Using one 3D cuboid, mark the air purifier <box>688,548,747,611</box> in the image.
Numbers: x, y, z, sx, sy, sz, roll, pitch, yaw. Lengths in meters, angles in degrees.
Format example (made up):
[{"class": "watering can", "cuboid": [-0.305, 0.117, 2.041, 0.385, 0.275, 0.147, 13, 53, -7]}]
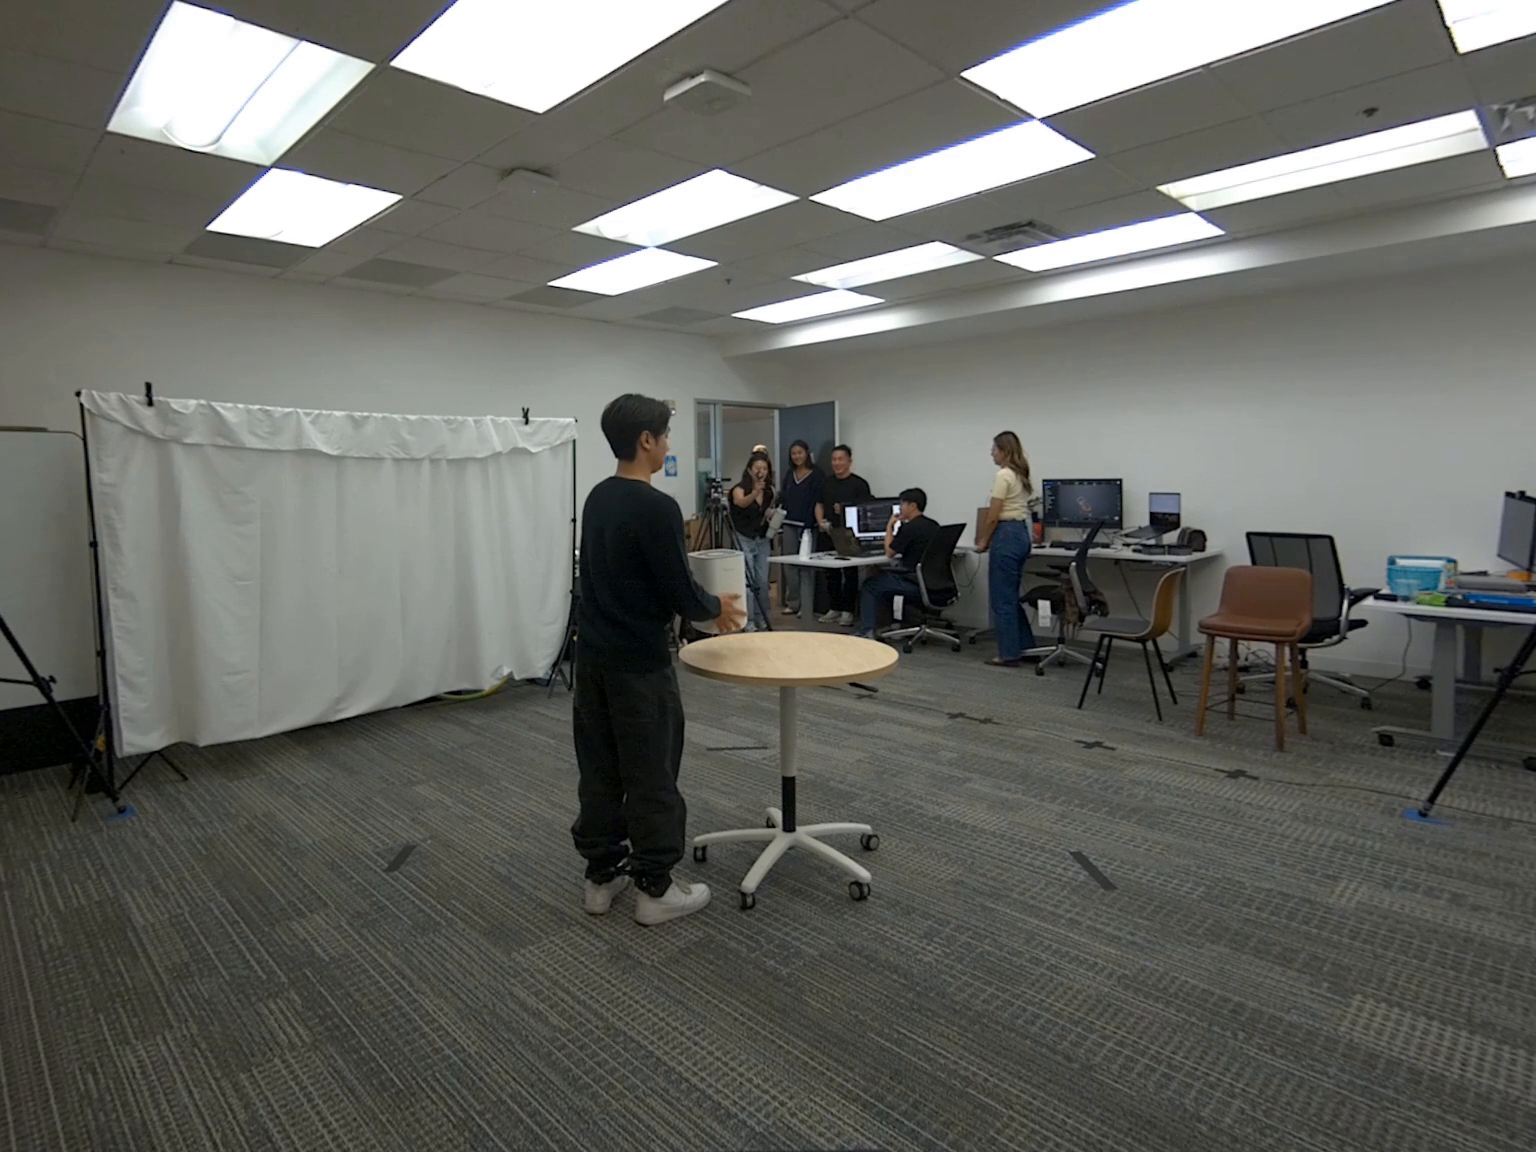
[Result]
[{"class": "air purifier", "cuboid": [-0.170, 0.054, 2.956, 0.167, 0.263, 0.177, -8, 10, -33]}]
